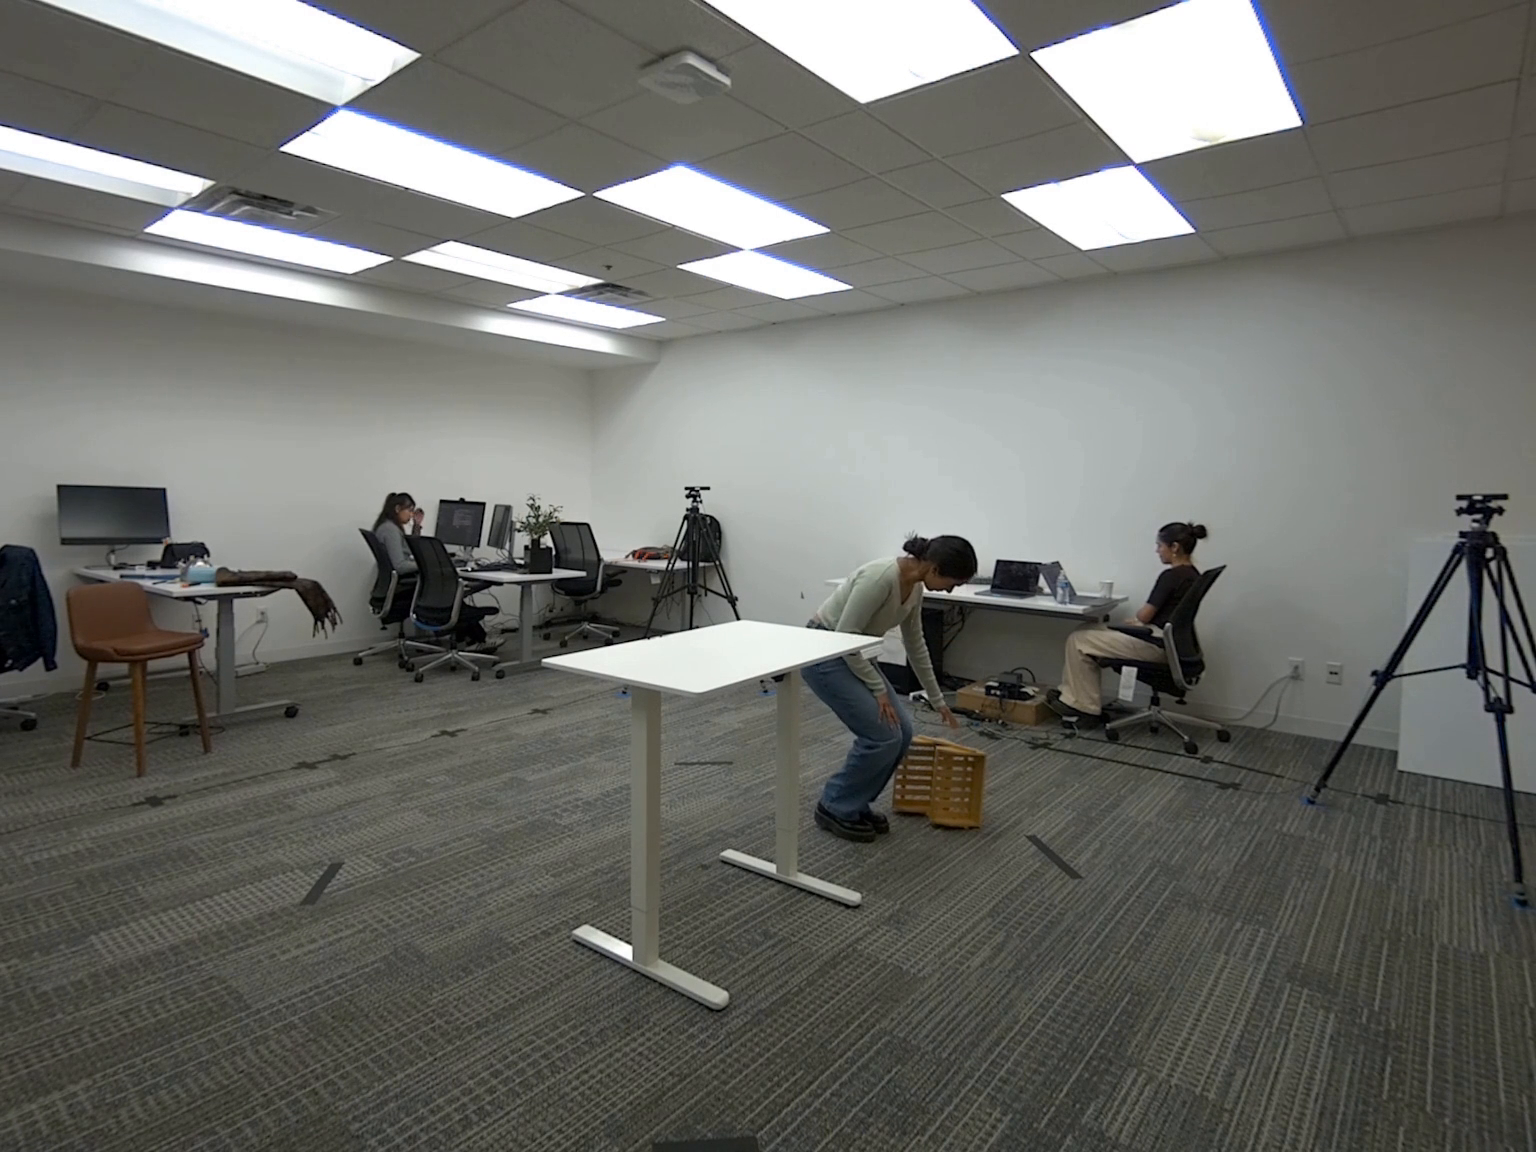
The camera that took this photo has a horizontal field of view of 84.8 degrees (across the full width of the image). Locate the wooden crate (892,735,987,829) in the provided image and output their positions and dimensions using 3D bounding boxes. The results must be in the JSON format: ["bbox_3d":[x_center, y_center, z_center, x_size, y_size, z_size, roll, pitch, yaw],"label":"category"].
[{"bbox_3d":[0.711,0.864,3.618,0.296,0.325,0.278,6,-1,-17],"label":"wooden crate"}]
